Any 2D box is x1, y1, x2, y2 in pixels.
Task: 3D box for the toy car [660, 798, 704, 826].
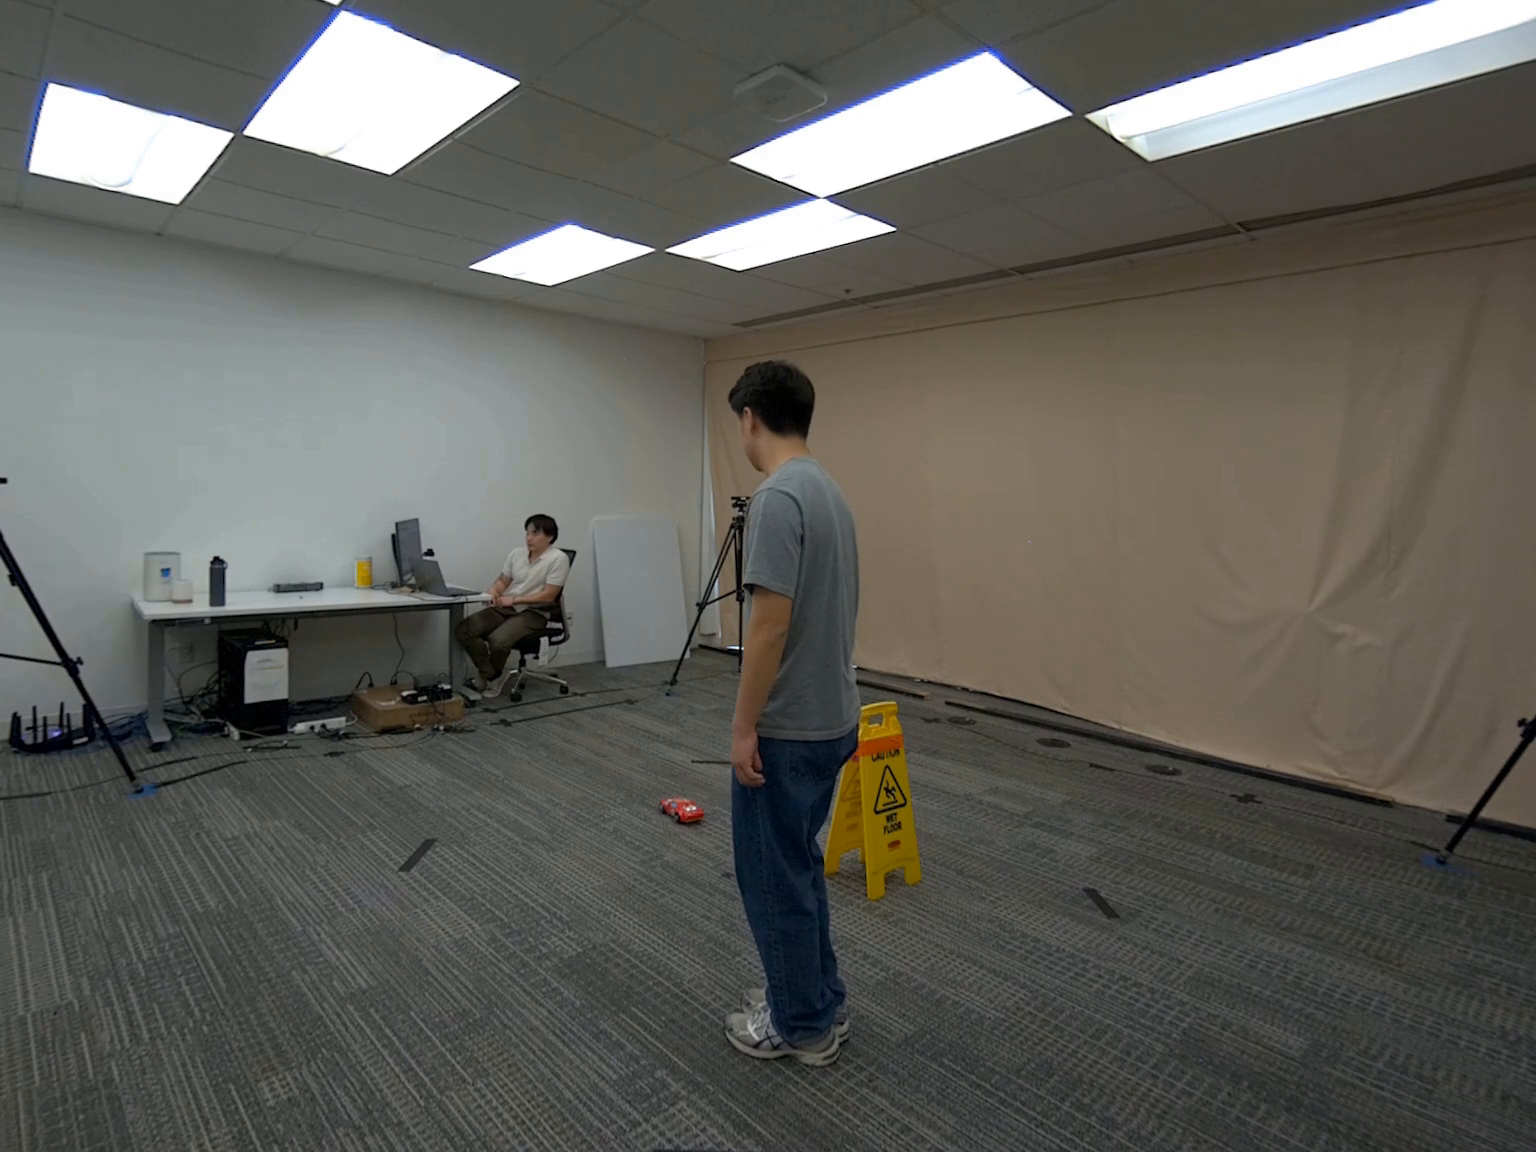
[{"bbox_3d":[-0.381,1.019,3.662,0.127,0.083,0.259,0,-6,-34],"label":"toy car"}]
